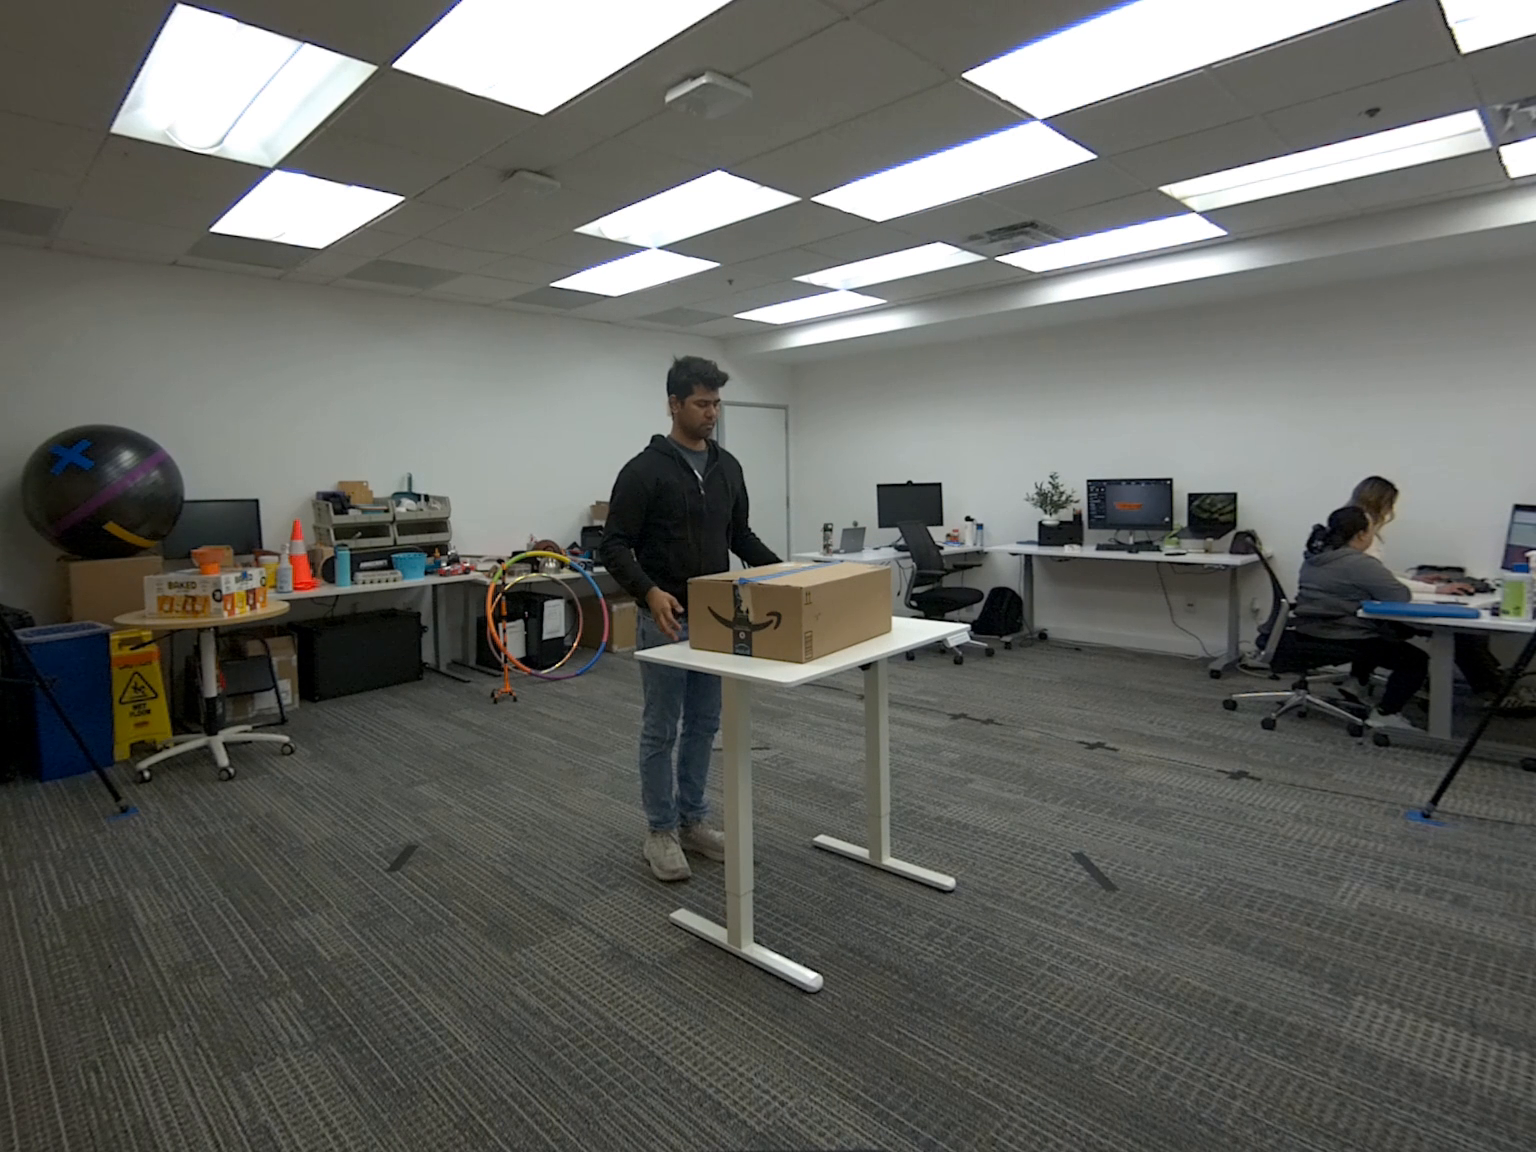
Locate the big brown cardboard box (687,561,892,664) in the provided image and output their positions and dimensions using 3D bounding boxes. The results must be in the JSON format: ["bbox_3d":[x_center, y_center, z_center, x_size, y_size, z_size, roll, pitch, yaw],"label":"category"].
[{"bbox_3d":[0.085,0.094,2.718,0.429,0.232,0.575,3,9,35],"label":"big brown cardboard box"}]
